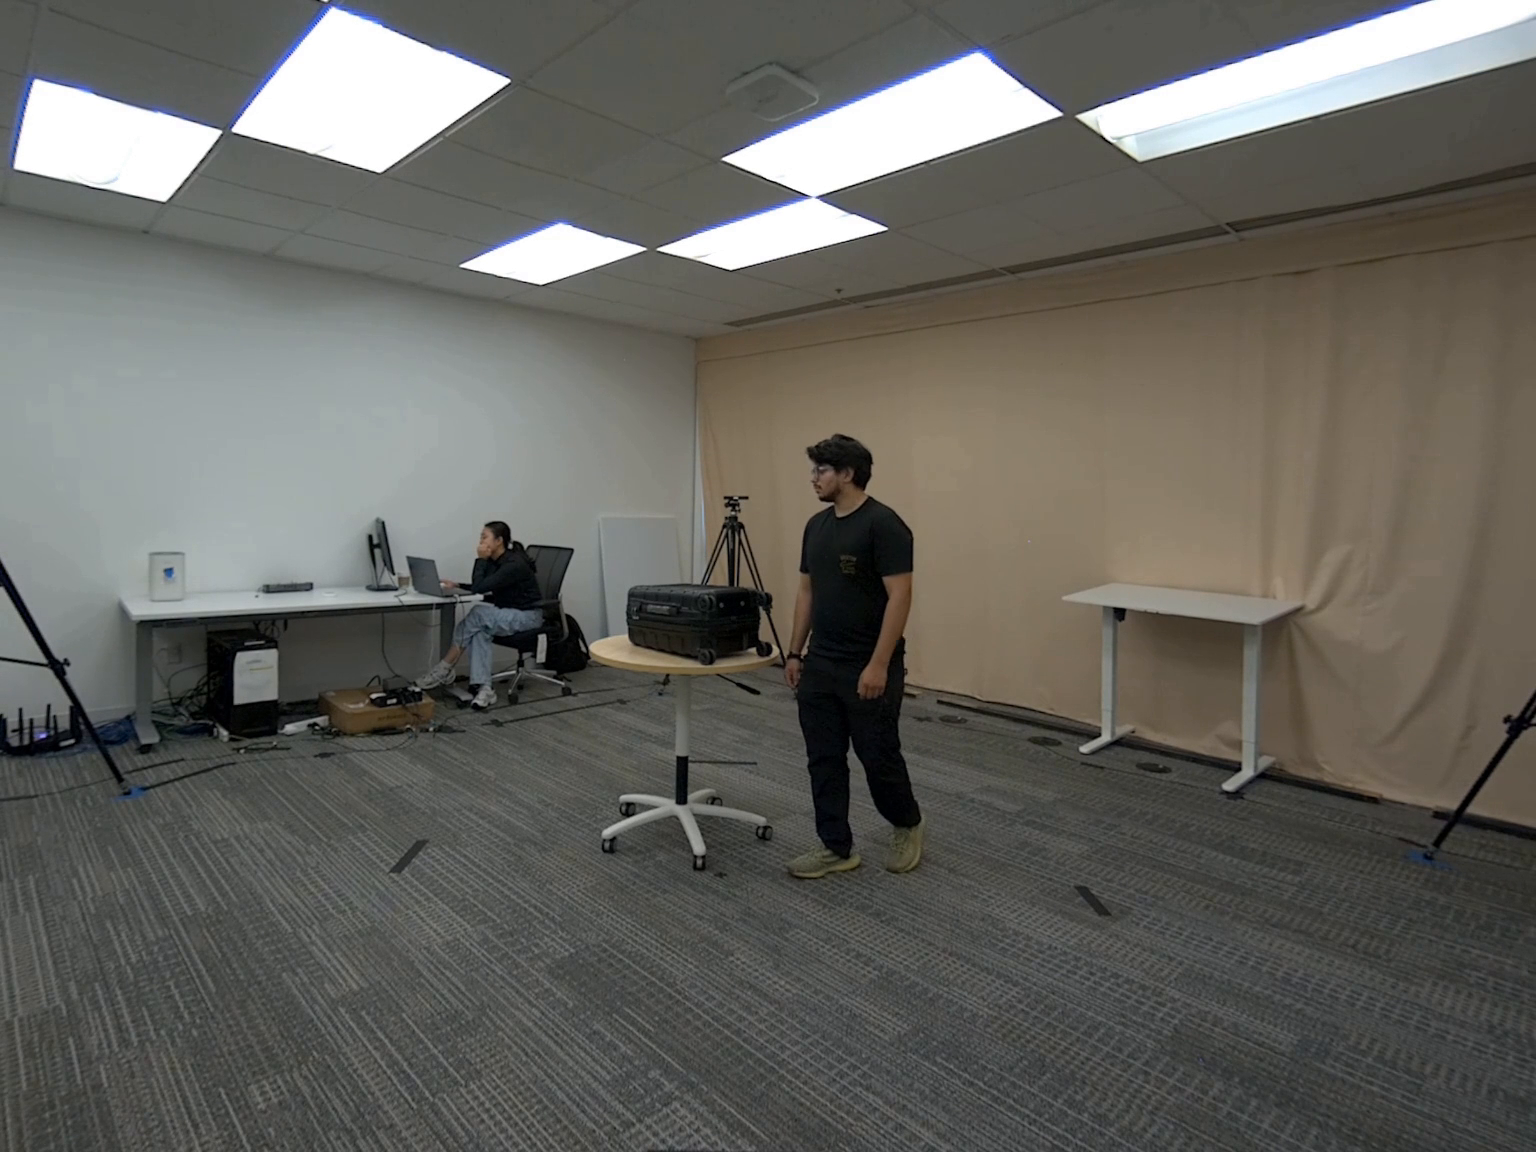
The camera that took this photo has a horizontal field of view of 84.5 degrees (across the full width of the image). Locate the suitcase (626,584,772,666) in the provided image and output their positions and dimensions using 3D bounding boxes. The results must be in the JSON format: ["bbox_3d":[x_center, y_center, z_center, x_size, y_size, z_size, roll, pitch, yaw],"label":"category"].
[{"bbox_3d":[-0.302,0.171,3.356,0.563,0.248,0.367,4,5,45],"label":"suitcase"}]
